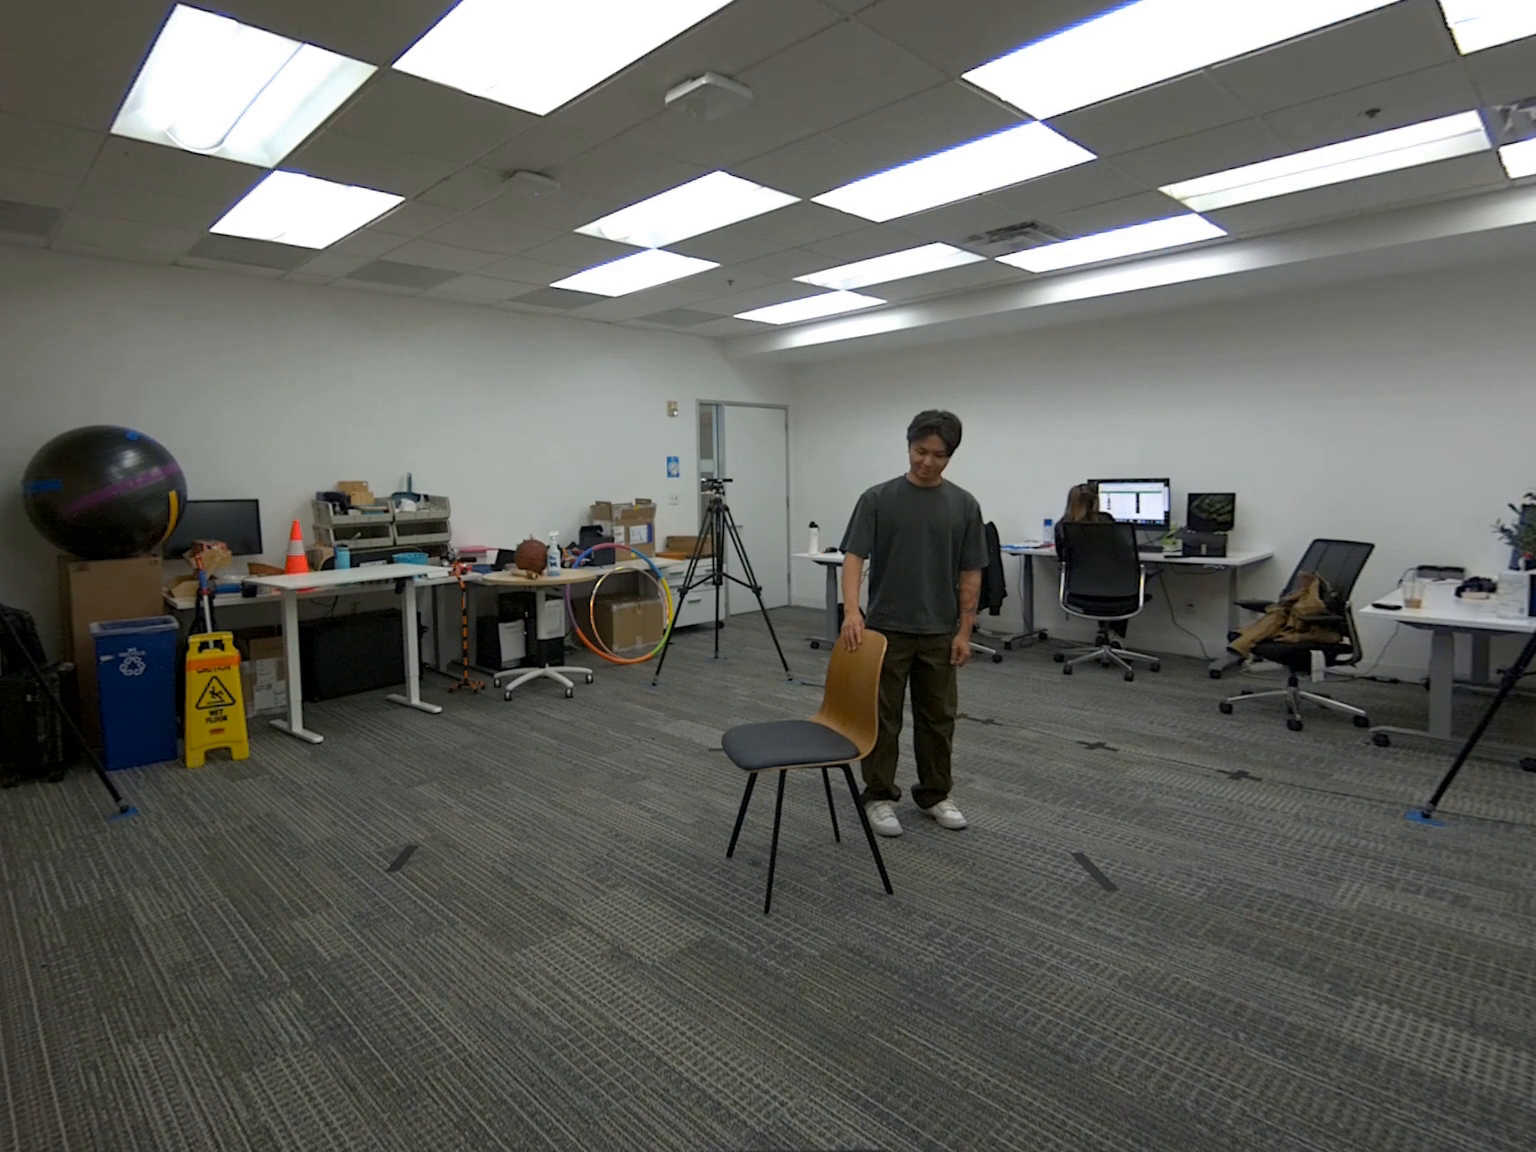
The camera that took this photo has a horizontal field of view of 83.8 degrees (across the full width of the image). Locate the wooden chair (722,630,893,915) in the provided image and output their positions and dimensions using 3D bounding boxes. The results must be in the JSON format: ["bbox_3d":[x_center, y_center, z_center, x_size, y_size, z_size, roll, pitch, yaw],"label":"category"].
[{"bbox_3d":[0.122,0.629,2.976,0.514,0.875,0.487,2,3,-18],"label":"wooden chair"}]
